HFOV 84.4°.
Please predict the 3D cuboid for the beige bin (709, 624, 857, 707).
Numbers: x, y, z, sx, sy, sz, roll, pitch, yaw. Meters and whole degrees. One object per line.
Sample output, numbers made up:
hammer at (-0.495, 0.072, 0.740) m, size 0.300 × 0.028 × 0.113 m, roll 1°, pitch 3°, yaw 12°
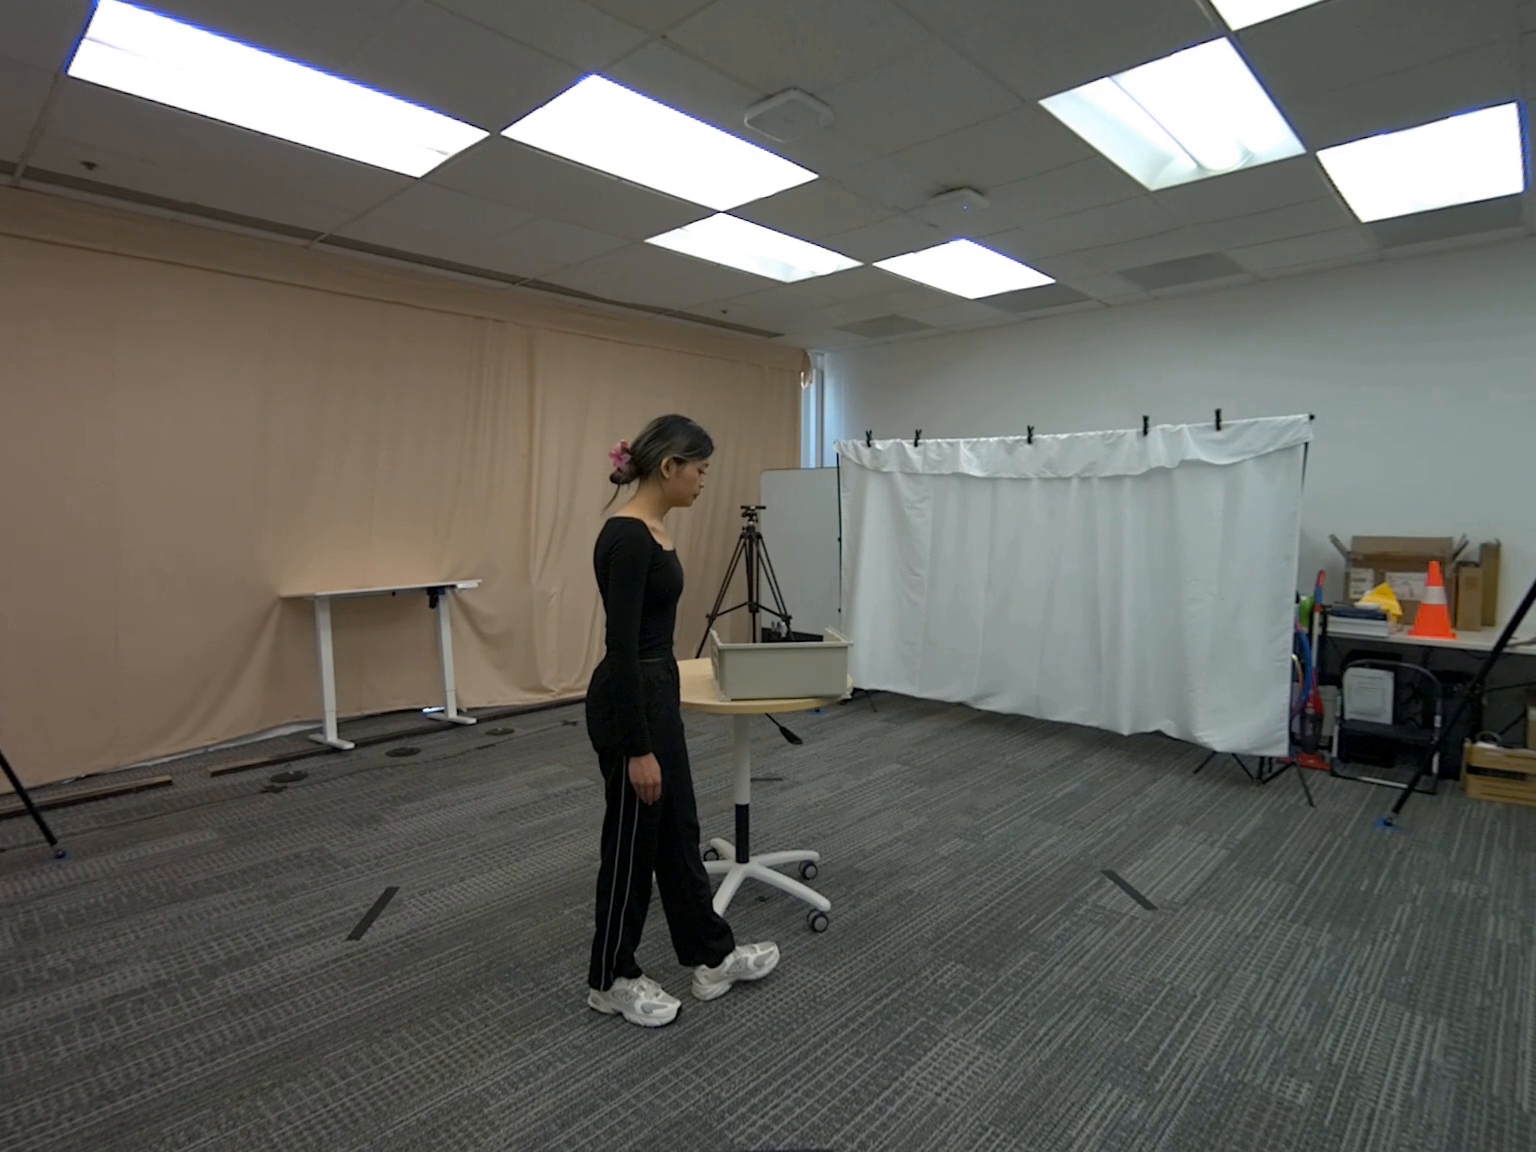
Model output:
beige bin at (0.032, 0.281, 2.772) m, size 0.420 × 0.188 × 0.381 m, roll 0°, pitch 5°, yaw -6°
